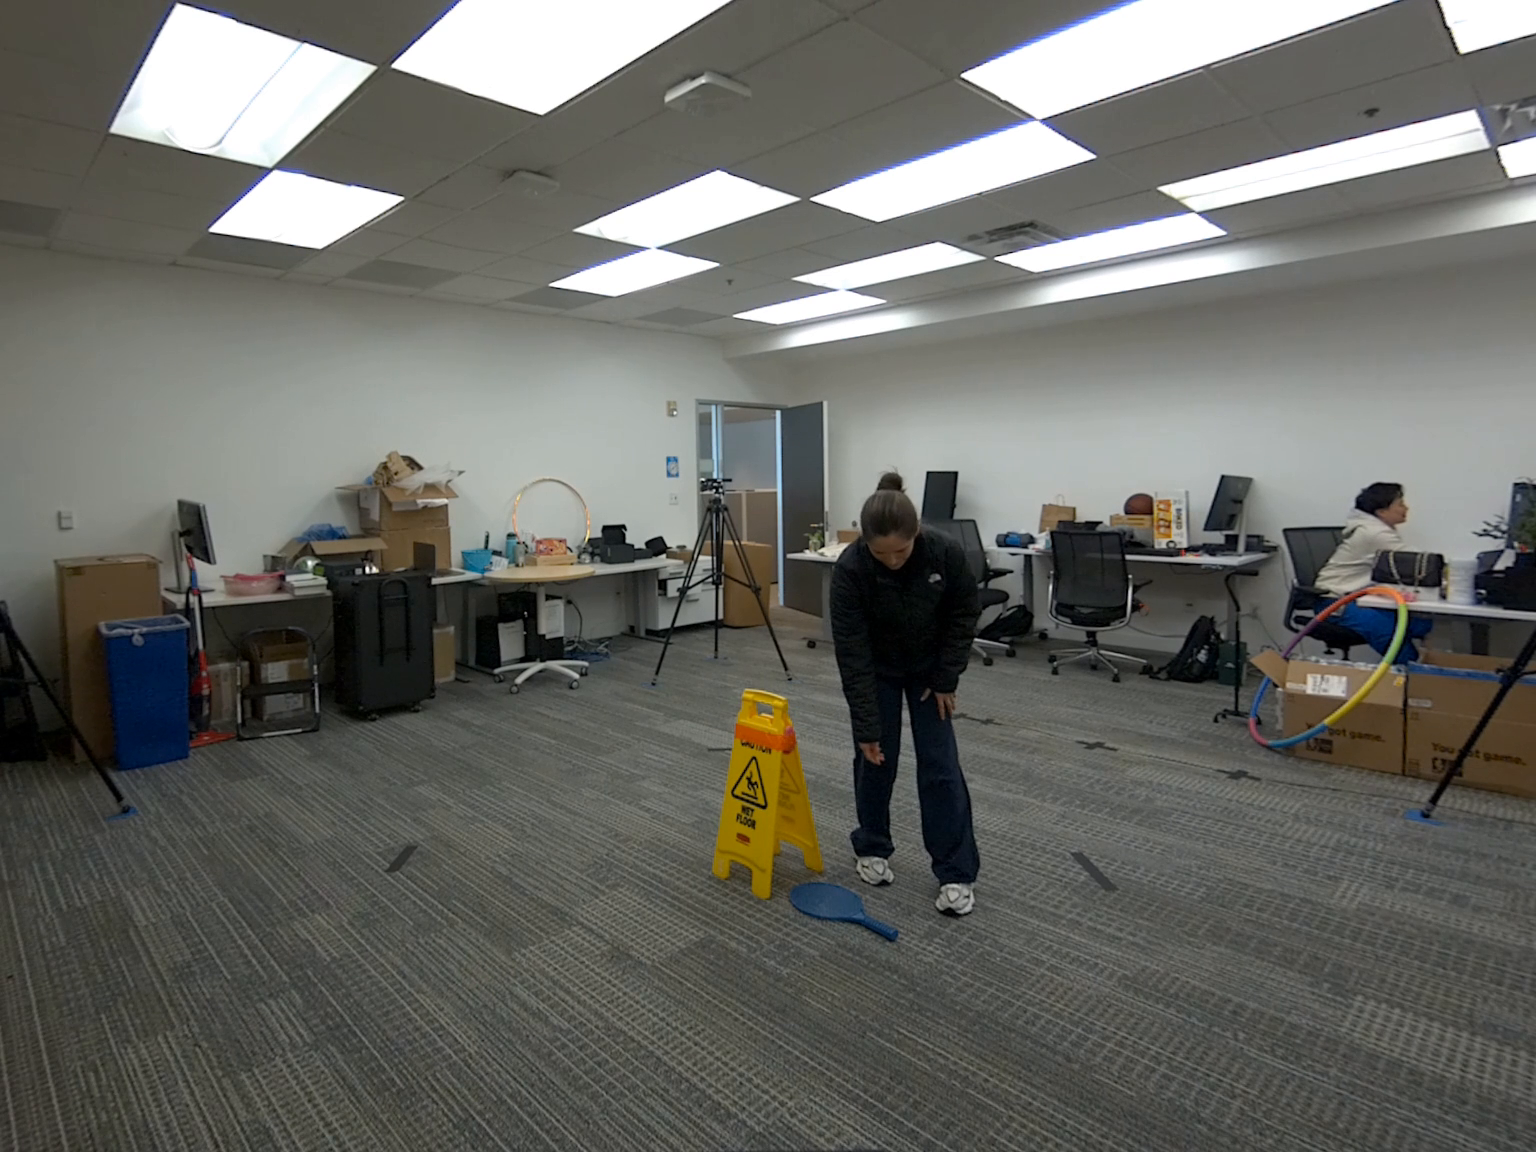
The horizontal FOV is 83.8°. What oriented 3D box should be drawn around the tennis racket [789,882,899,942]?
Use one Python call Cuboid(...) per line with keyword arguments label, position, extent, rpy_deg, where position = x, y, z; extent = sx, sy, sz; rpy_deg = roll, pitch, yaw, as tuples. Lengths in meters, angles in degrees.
Cuboid(label="tennis racket", position=(0.244, 1.065, 2.760), extent=(0.208, 0.031, 0.446), rpy_deg=(-7, 7, -39))
